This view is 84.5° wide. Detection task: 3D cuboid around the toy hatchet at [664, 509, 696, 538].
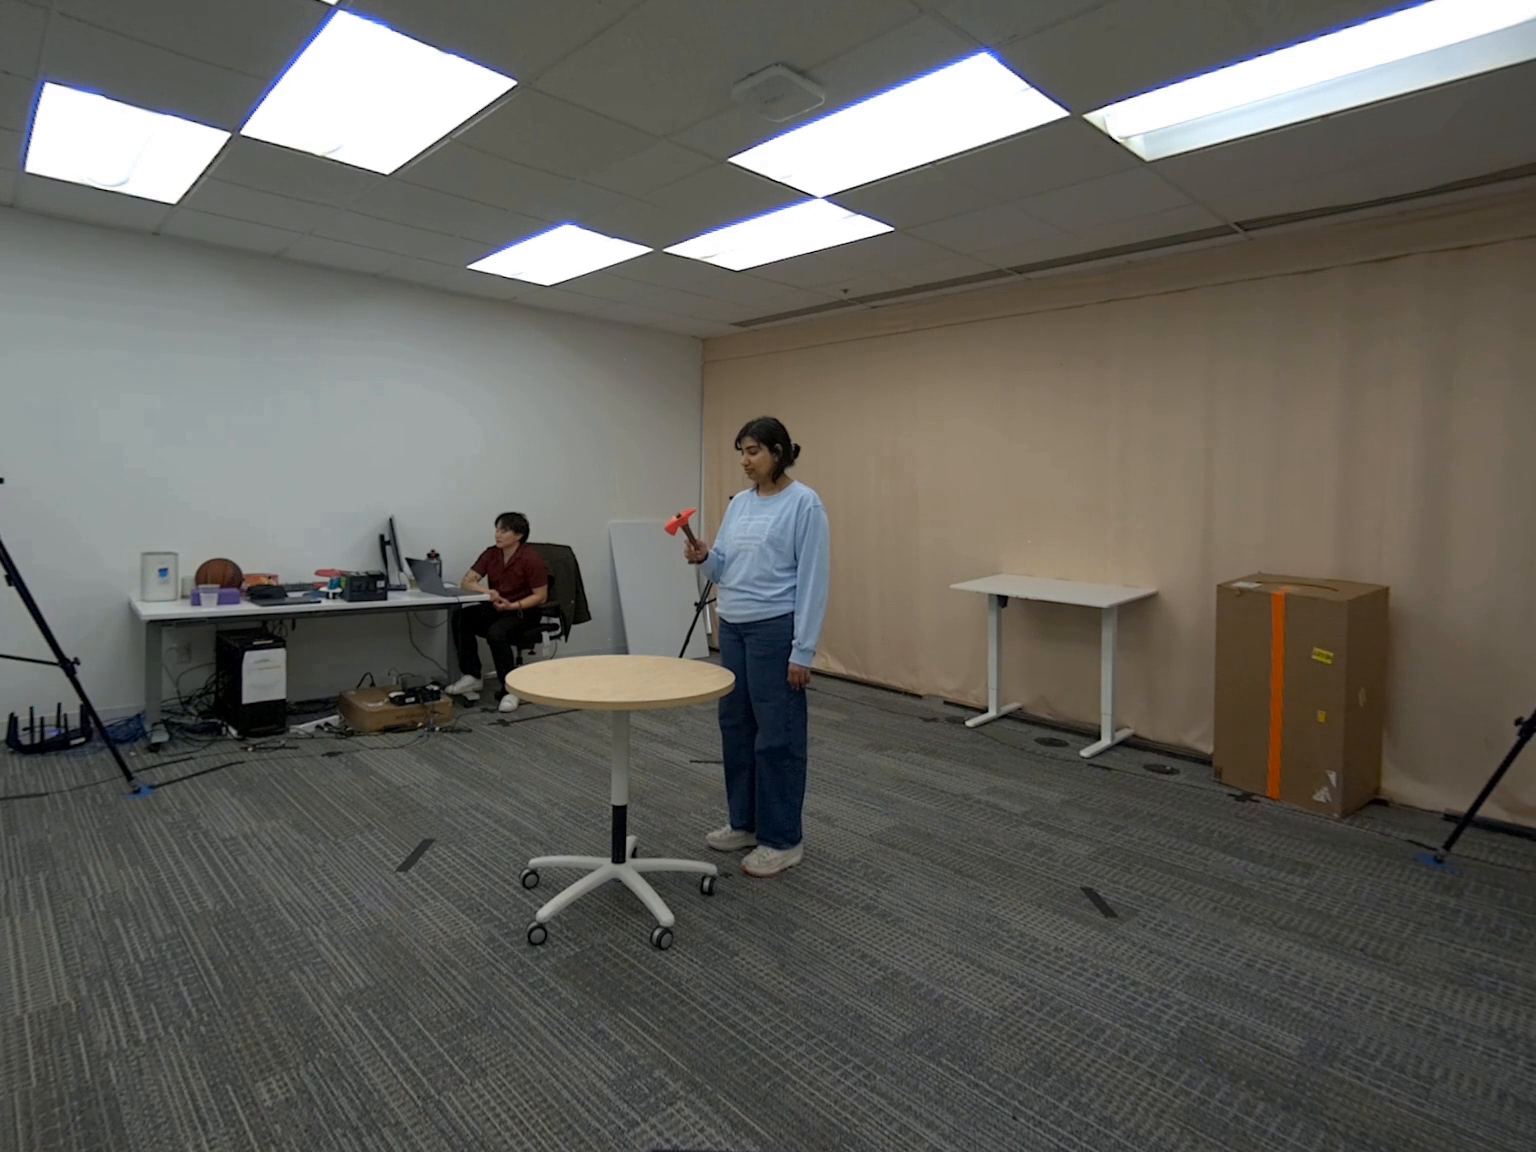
[{"bbox_3d":[-0.316,-0.131,3.105,0.130,0.264,0.030,-23,47,-21],"label":"toy hatchet"}]
